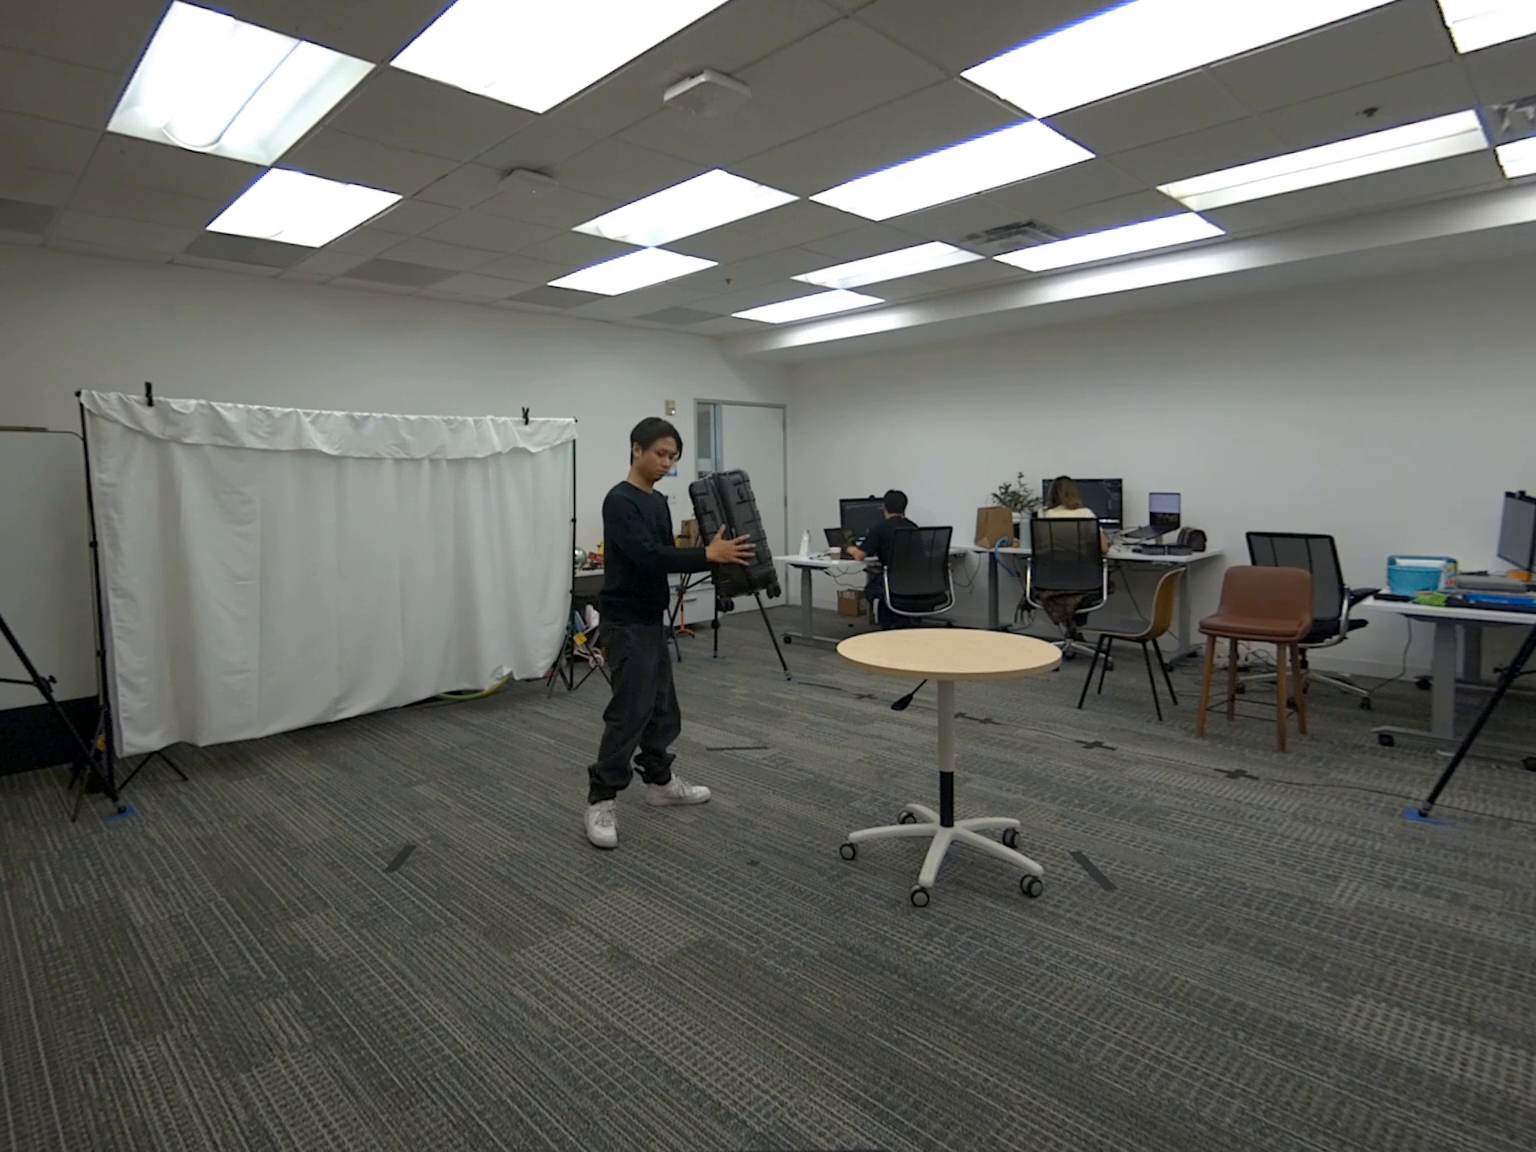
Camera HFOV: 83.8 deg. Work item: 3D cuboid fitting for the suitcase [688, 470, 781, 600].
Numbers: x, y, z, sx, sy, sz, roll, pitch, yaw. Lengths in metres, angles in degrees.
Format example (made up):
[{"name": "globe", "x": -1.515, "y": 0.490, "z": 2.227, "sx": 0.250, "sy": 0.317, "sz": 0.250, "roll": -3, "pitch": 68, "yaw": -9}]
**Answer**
[{"name": "suitcase", "x": -0.152, "y": -0.155, "z": 3.517, "sx": 0.248, "sy": 0.554, "sz": 0.372, "roll": -16, "pitch": -6, "yaw": 0}]
